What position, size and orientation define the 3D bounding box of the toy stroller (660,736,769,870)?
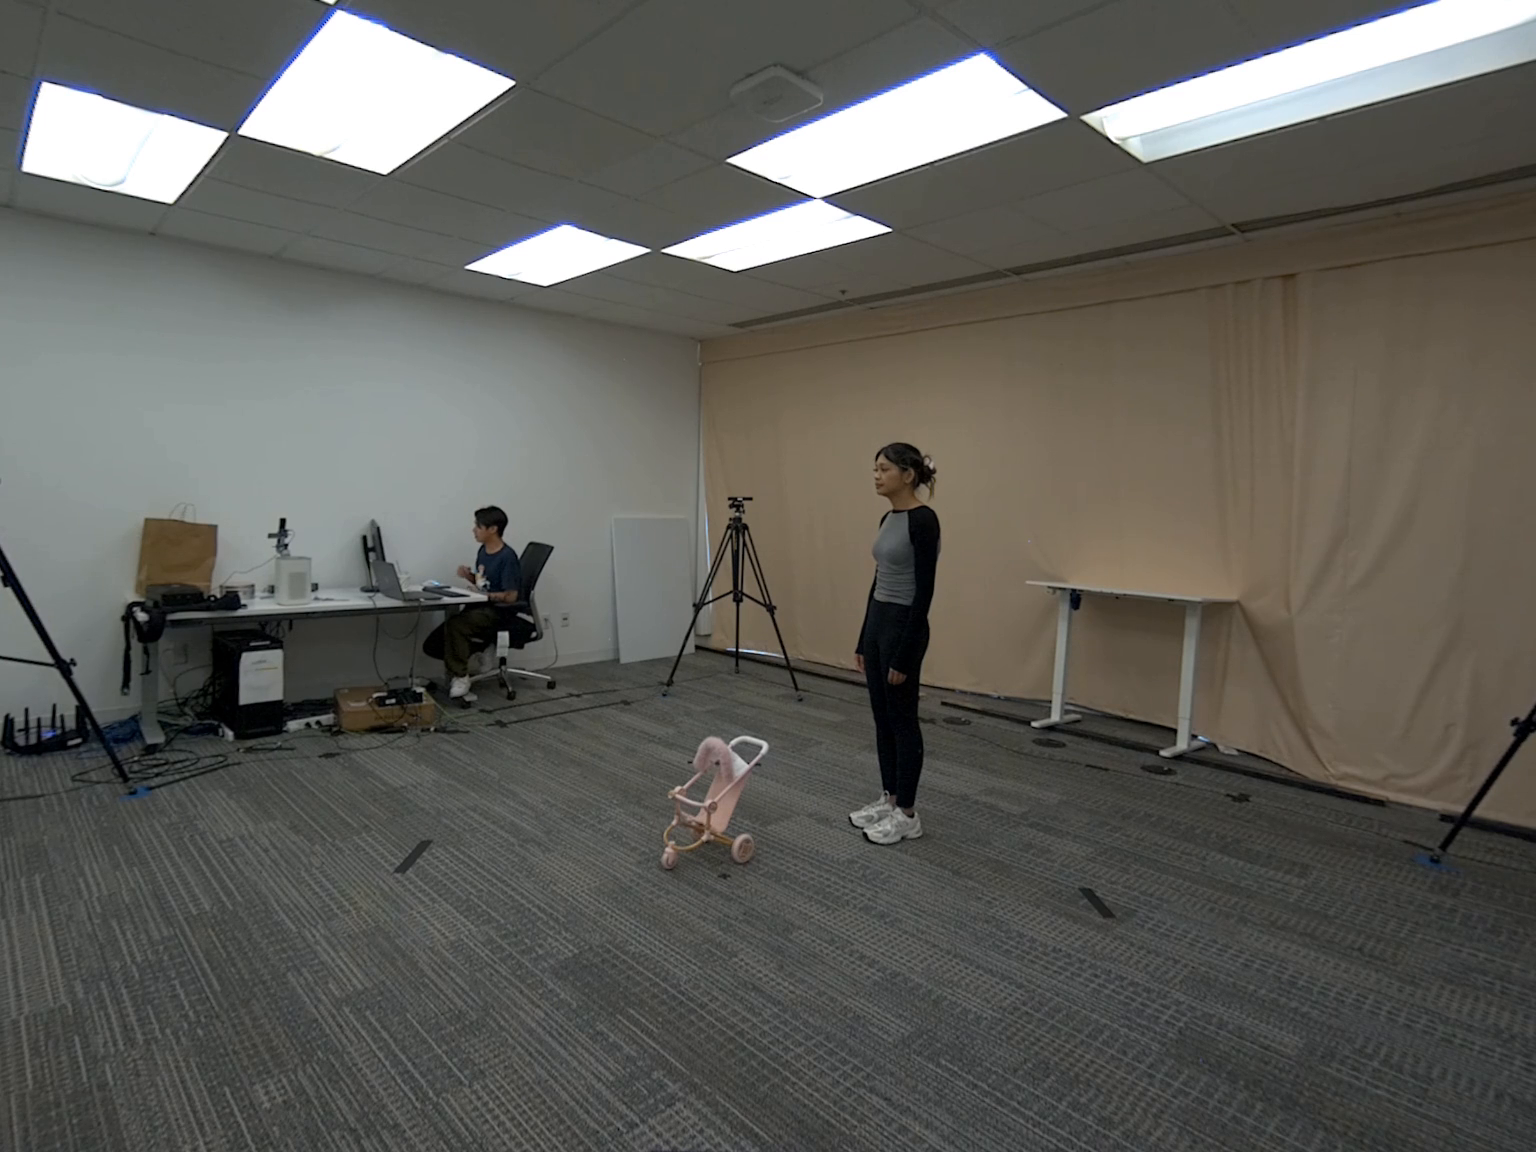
[{"bbox_3d":[-0.232,0.868,3.267,0.332,0.537,0.288,20,-9,-37],"label":"toy stroller"}]
